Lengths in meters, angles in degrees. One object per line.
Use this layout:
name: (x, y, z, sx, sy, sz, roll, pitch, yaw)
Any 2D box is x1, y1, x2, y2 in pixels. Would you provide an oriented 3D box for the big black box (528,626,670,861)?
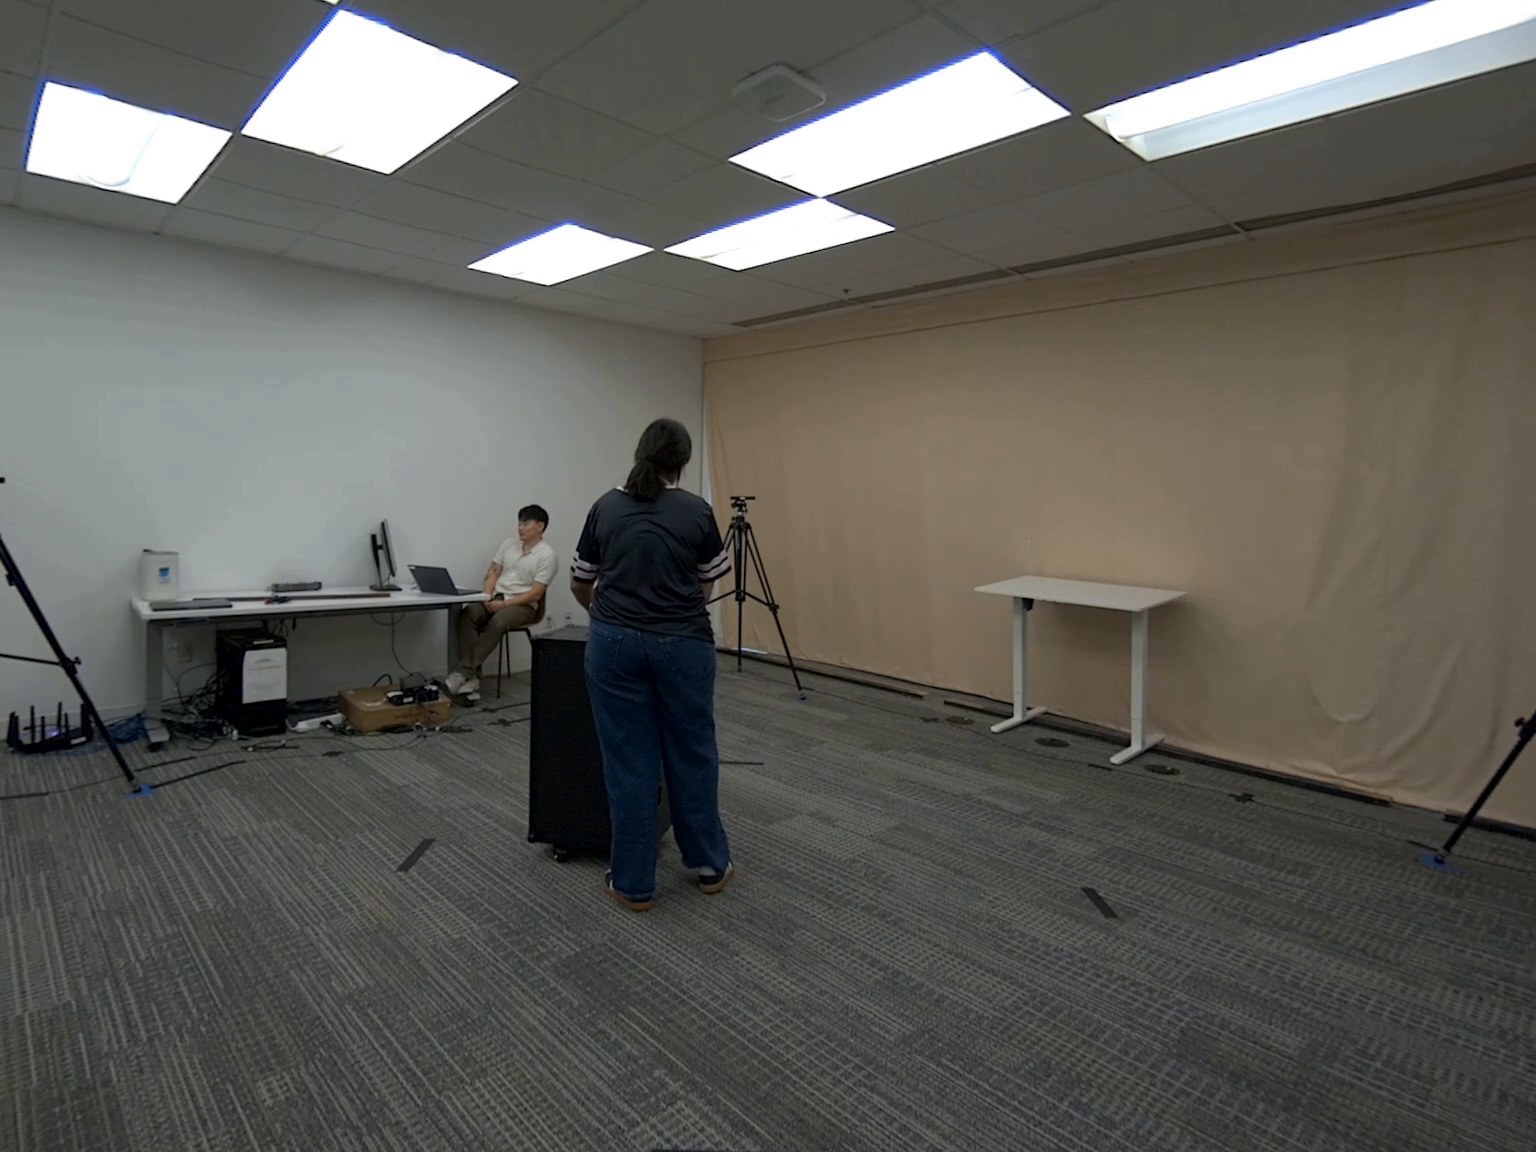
big black box: (-0.646, 0.652, 3.306, 0.528, 0.867, 0.382, 2, 2, 10)
